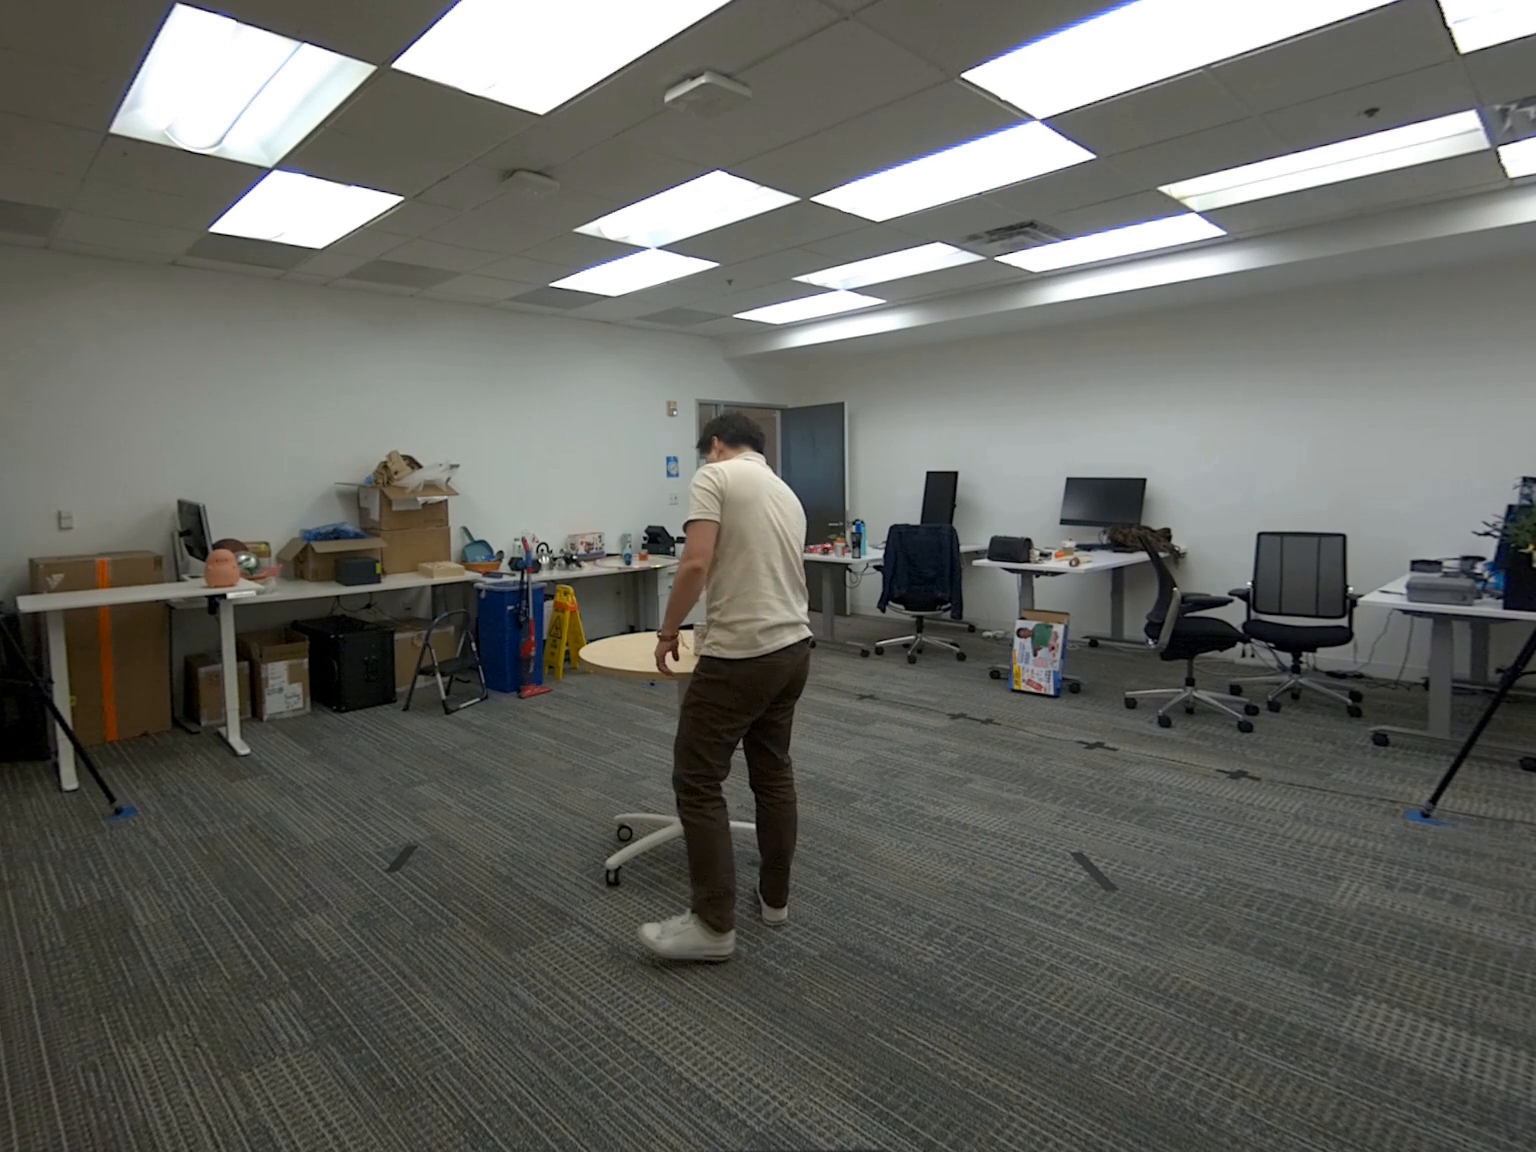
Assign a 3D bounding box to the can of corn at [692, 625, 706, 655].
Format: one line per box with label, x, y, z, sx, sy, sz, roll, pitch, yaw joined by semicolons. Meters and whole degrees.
can of corn;-0.218;0.222;2.994;0.074;0.110;0.075;0;6;-2
